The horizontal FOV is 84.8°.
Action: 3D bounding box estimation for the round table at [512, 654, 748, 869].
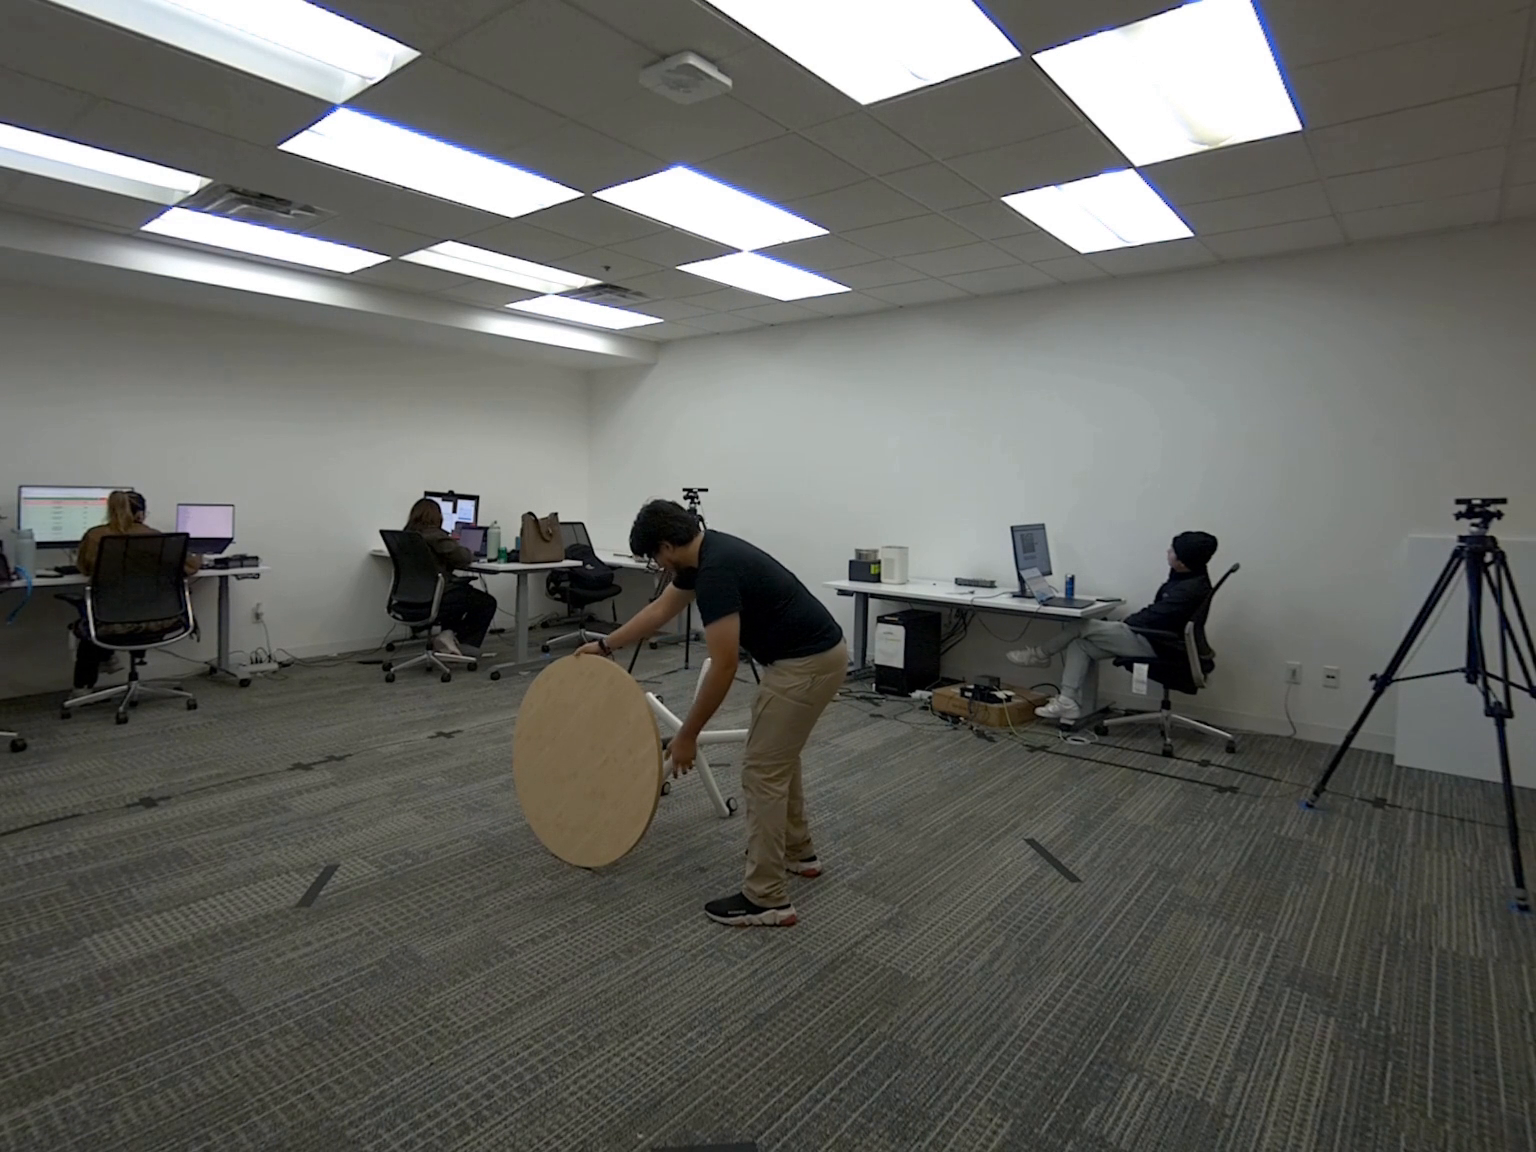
[{"bbox_3d":[-0.497,0.682,3.472,0.810,0.787,0.760,4,-2,34],"label":"round table"}]
